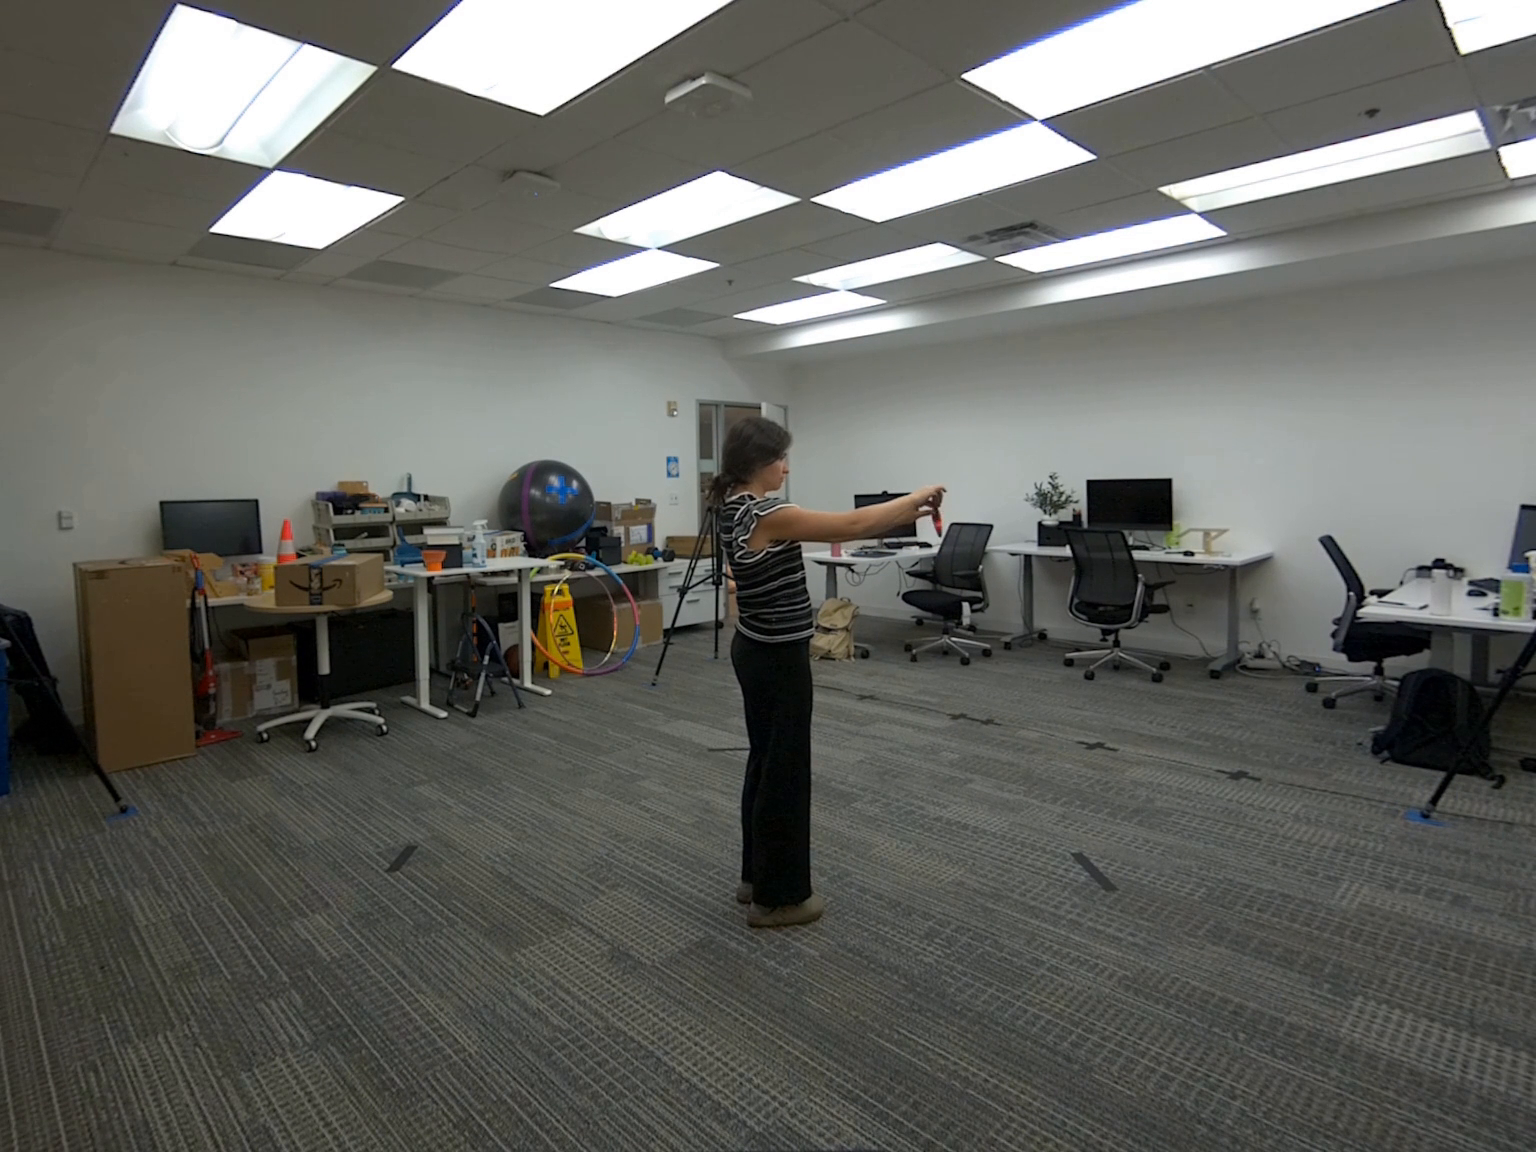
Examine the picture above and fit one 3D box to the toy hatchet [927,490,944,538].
[{"bbox_3d":[0.558,-0.192,2.751,0.030,0.131,0.267,-9,-1,8],"label":"toy hatchet"}]
